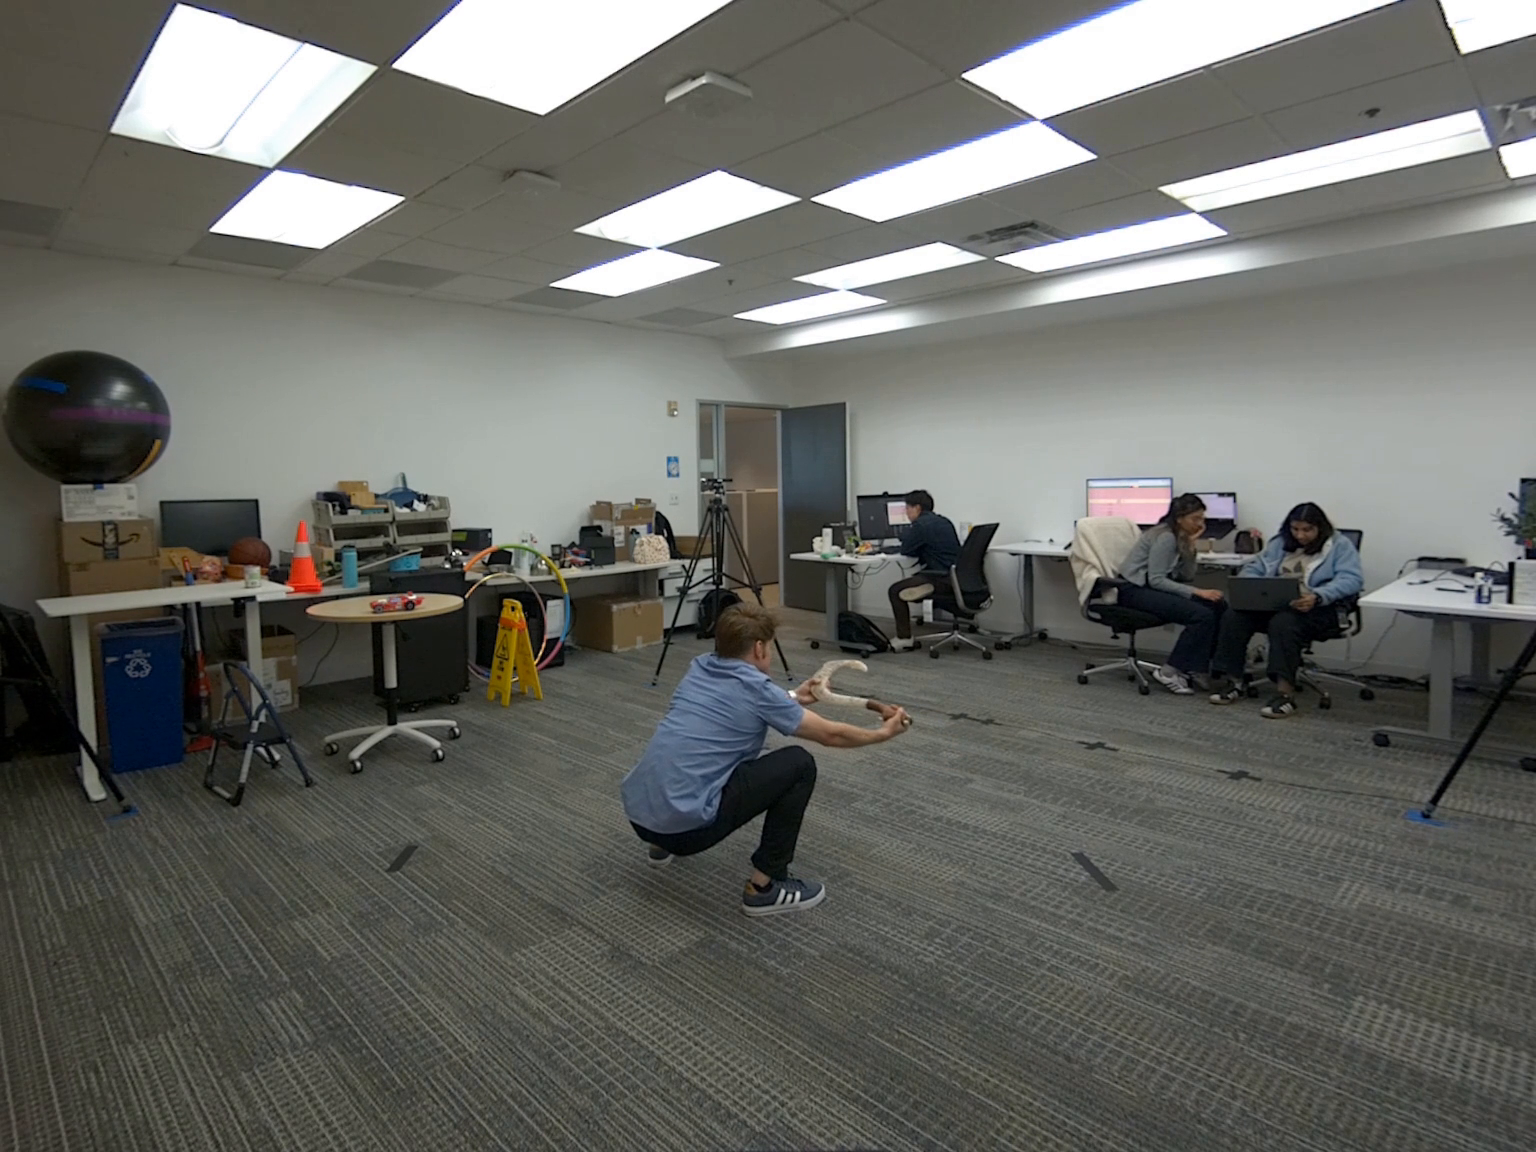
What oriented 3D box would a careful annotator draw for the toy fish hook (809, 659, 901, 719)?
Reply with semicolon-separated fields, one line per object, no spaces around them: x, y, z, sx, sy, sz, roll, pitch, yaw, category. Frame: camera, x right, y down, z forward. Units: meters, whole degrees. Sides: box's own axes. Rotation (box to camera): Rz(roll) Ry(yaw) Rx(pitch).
0.370;0.443;3.268;0.524;0.046;0.225;16;59;46;toy fish hook
